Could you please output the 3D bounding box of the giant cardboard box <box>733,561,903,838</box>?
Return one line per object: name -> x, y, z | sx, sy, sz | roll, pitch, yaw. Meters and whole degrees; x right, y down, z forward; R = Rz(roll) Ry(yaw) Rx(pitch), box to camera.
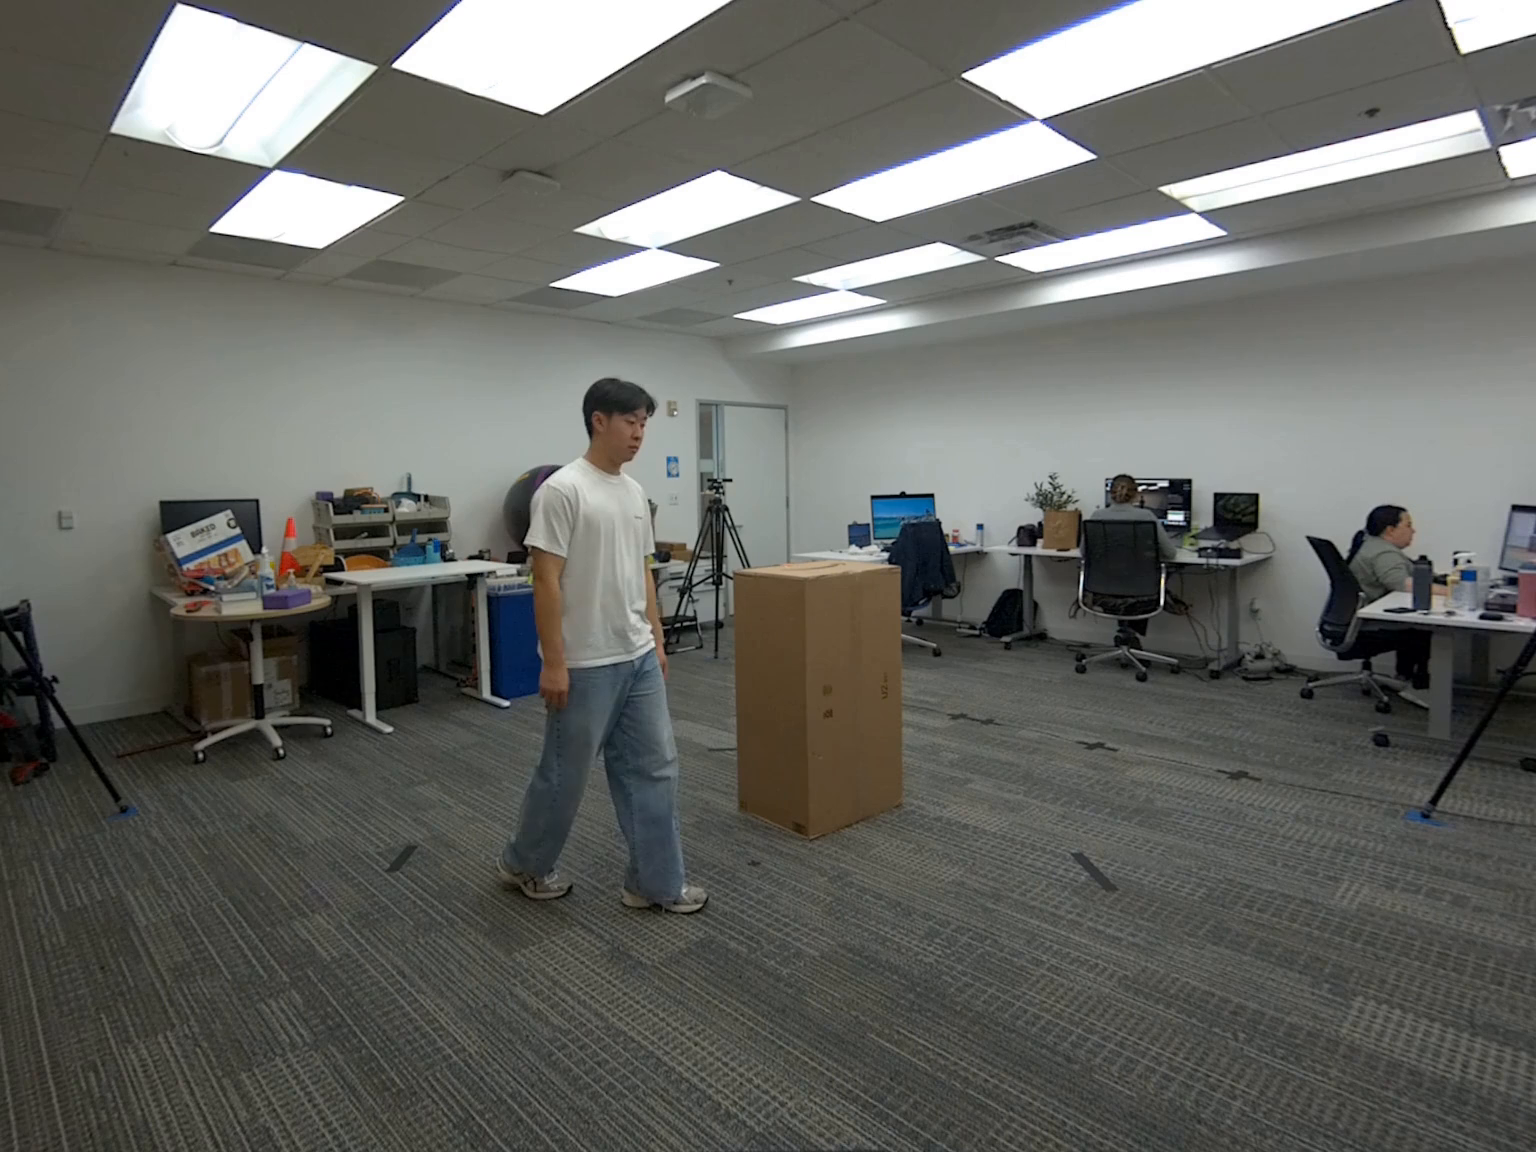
giant cardboard box -> 0.212, 0.475, 3.598 | 0.562, 1.022, 0.439 | -5, 5, -41
